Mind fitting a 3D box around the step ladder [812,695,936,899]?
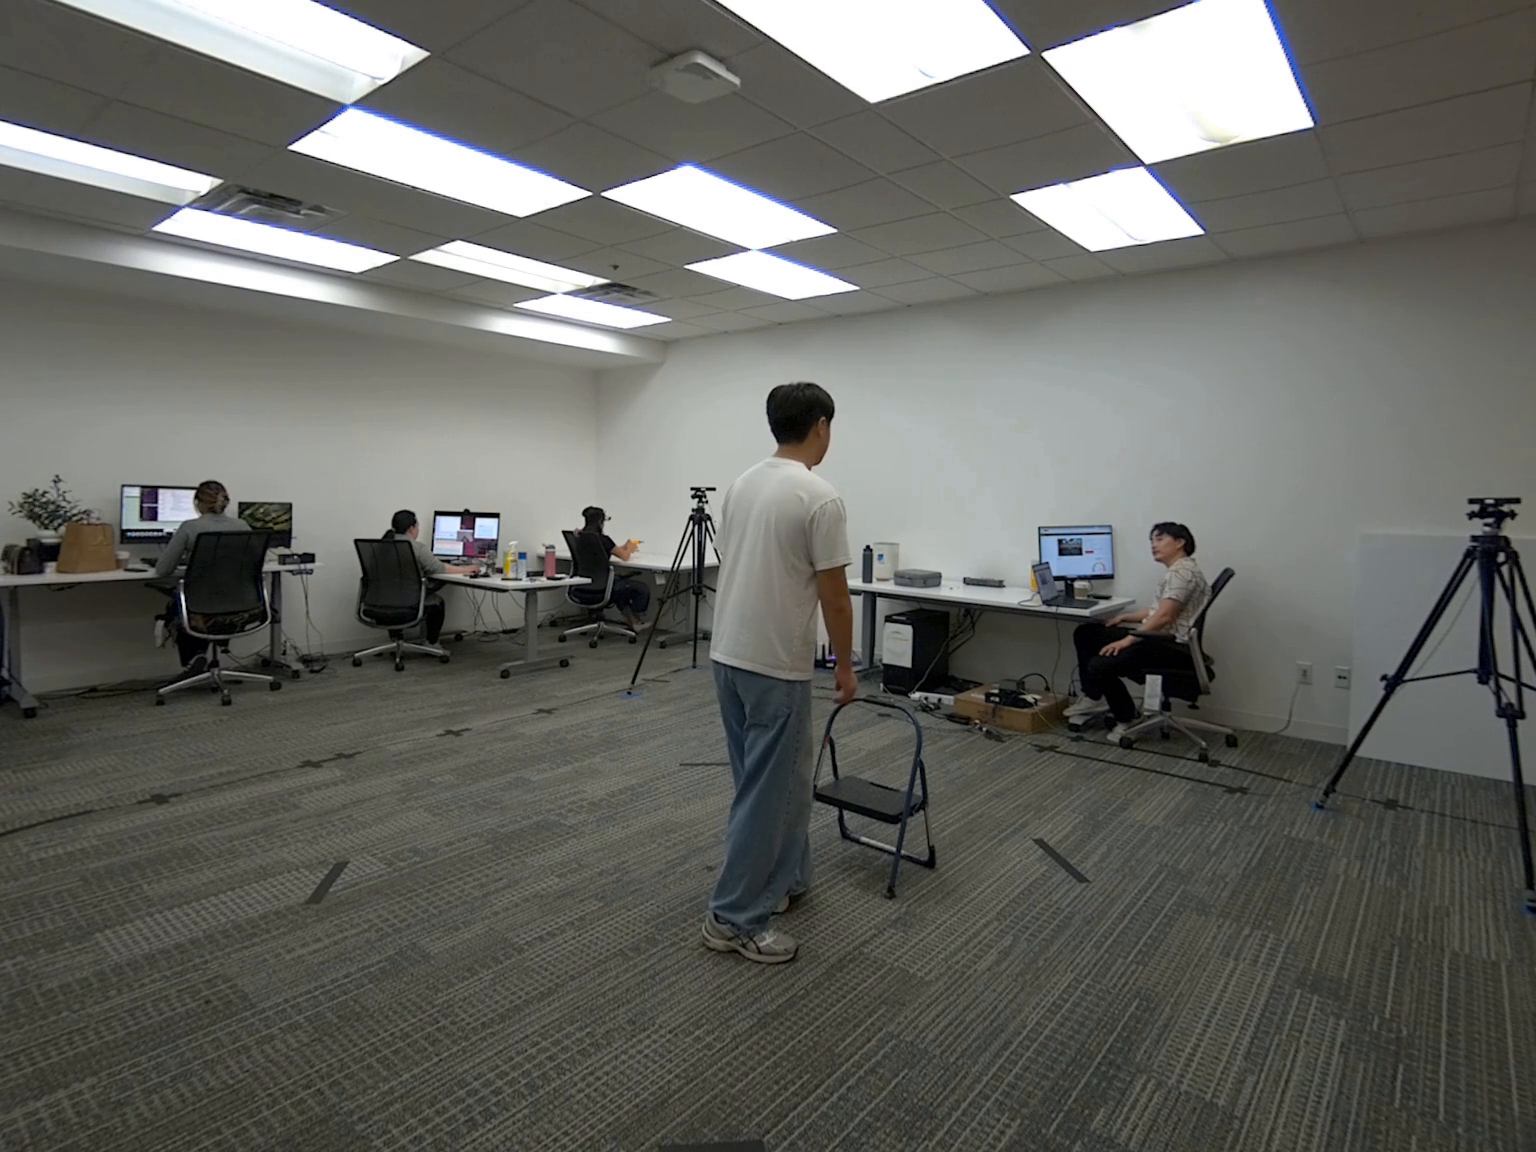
[{"bbox_3d":[0.358,0.768,3.157,0.445,0.604,0.339,4,5,39],"label":"step ladder"}]
